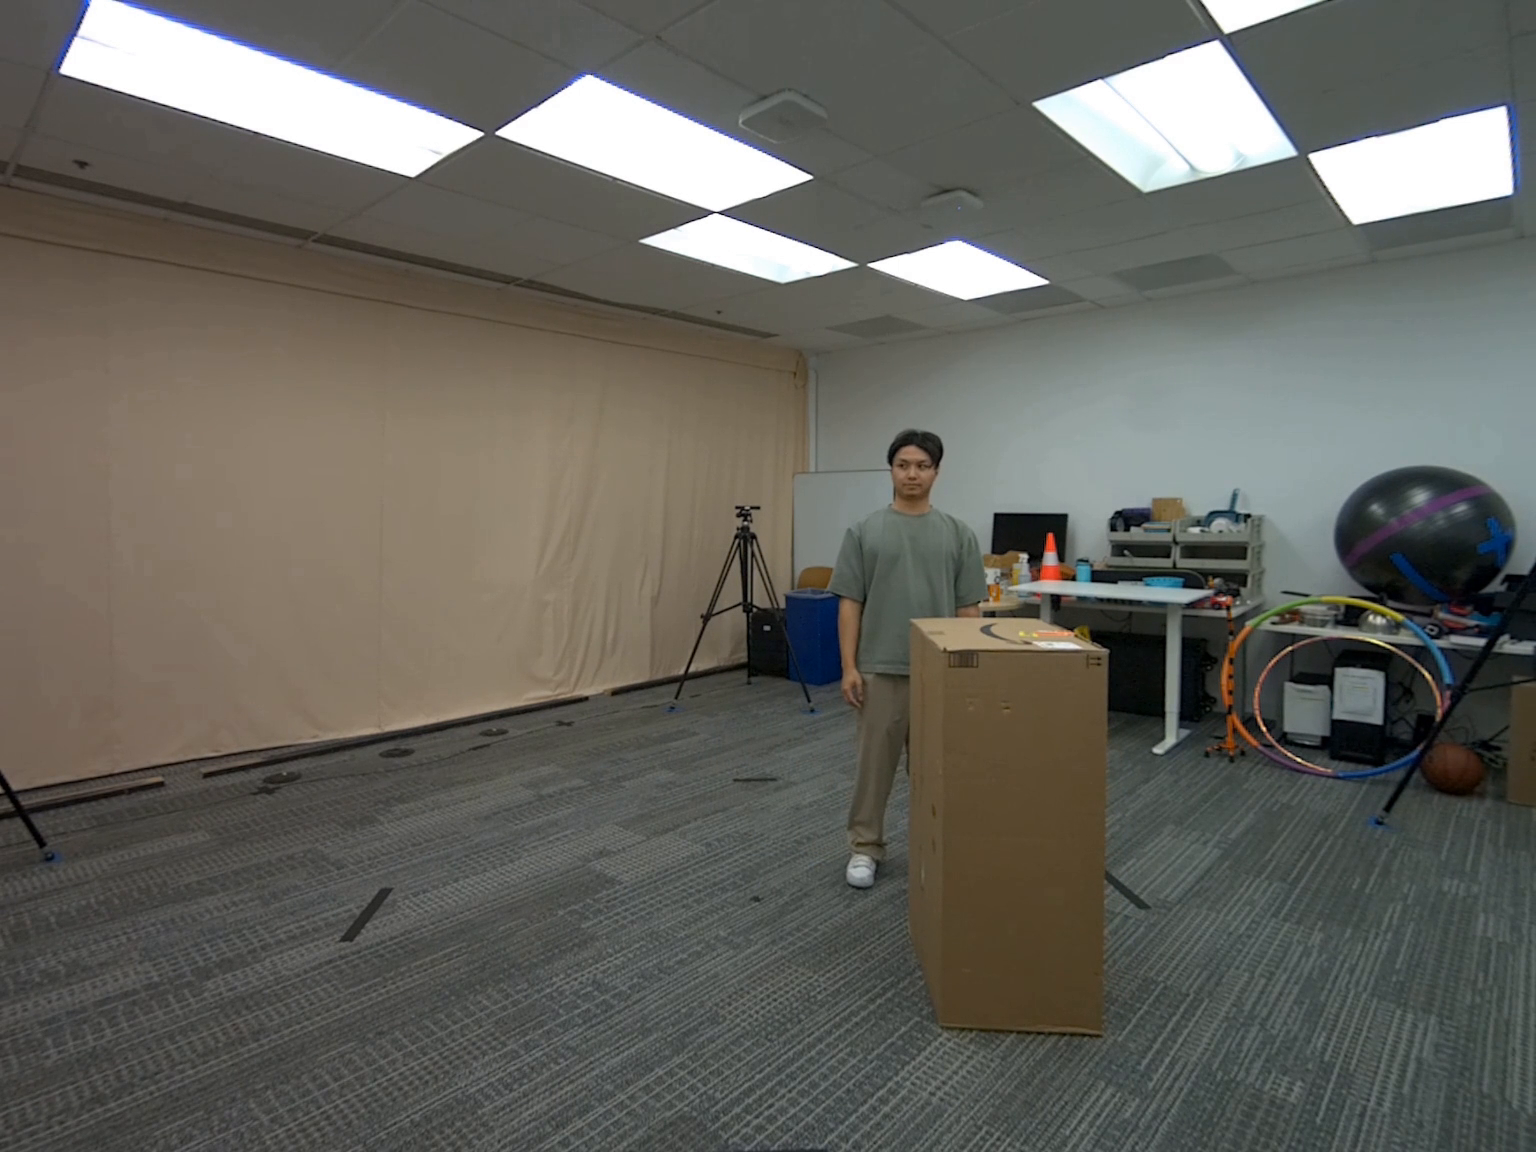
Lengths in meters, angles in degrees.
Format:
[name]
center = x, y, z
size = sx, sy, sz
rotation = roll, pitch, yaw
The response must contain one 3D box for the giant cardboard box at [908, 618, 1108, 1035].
[giant cardboard box]
center = 0.678, 0.672, 2.480
size = 0.428, 1.024, 0.576
rotation = 0, 3, 2
